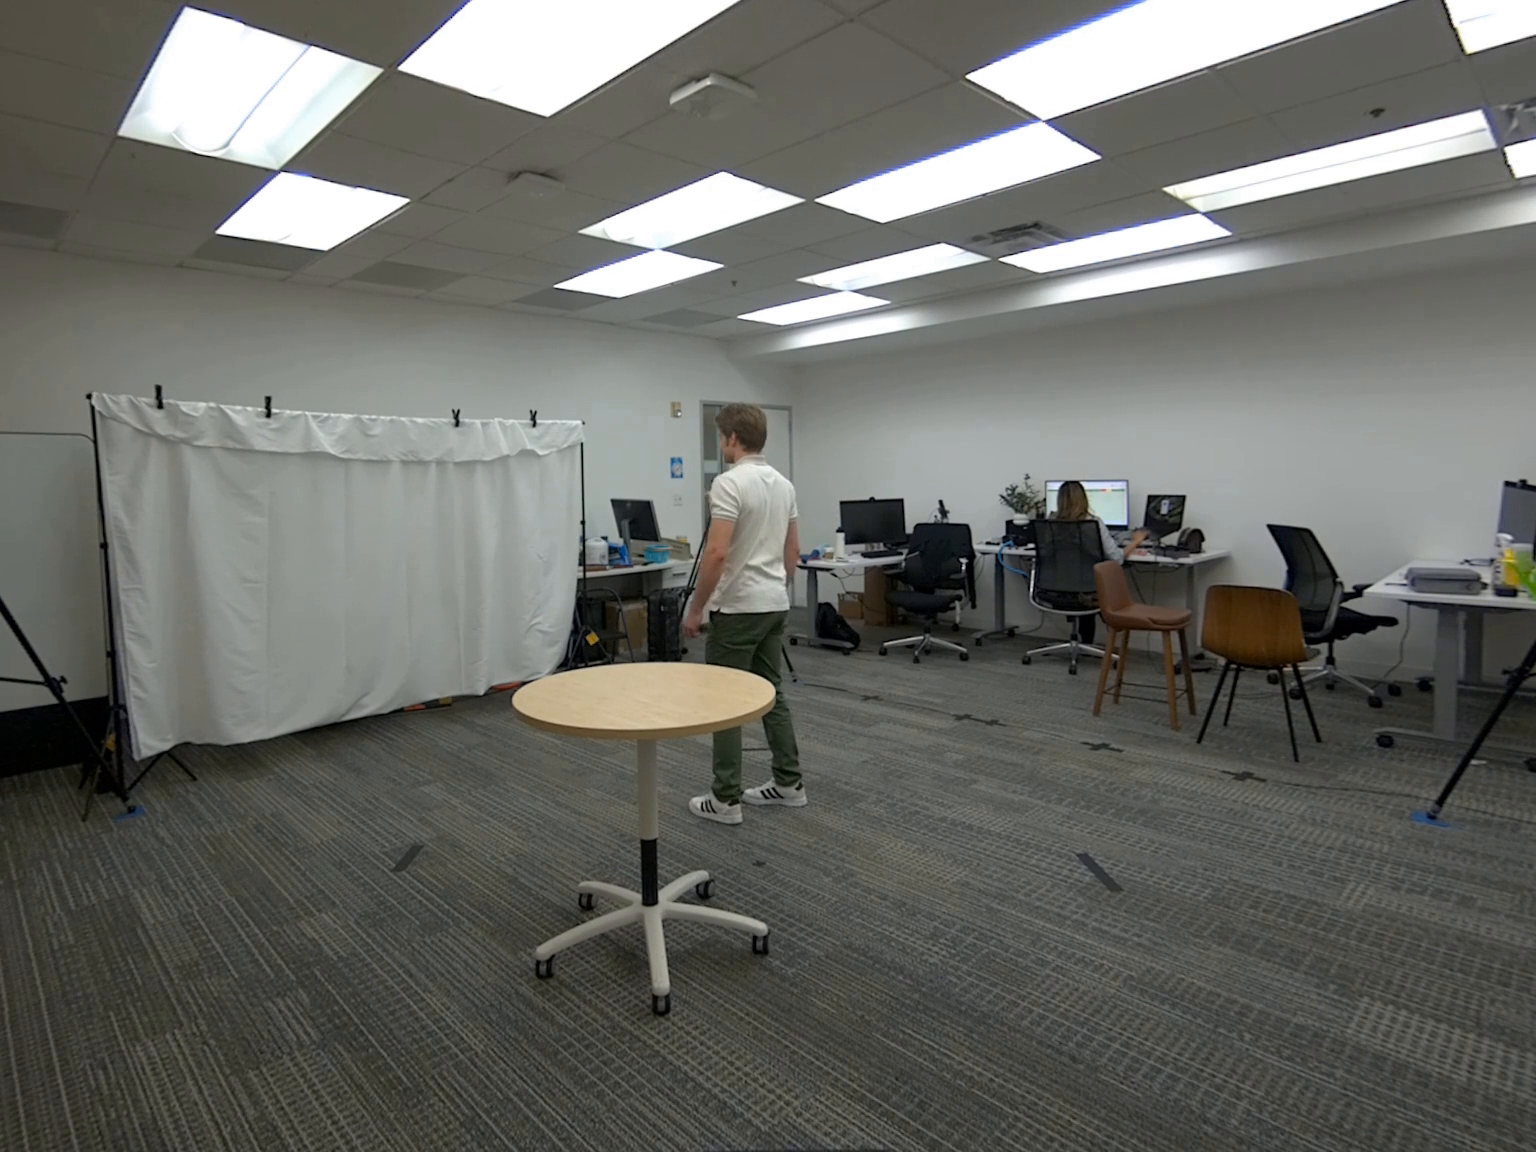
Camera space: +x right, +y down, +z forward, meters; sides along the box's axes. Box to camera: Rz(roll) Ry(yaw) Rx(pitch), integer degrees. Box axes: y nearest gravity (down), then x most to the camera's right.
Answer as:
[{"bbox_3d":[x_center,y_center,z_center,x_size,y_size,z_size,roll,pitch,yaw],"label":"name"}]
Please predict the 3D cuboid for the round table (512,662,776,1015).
[{"bbox_3d":[-0.357,0.733,2.544,0.763,0.790,0.768,-1,5,-2],"label":"round table"}]
